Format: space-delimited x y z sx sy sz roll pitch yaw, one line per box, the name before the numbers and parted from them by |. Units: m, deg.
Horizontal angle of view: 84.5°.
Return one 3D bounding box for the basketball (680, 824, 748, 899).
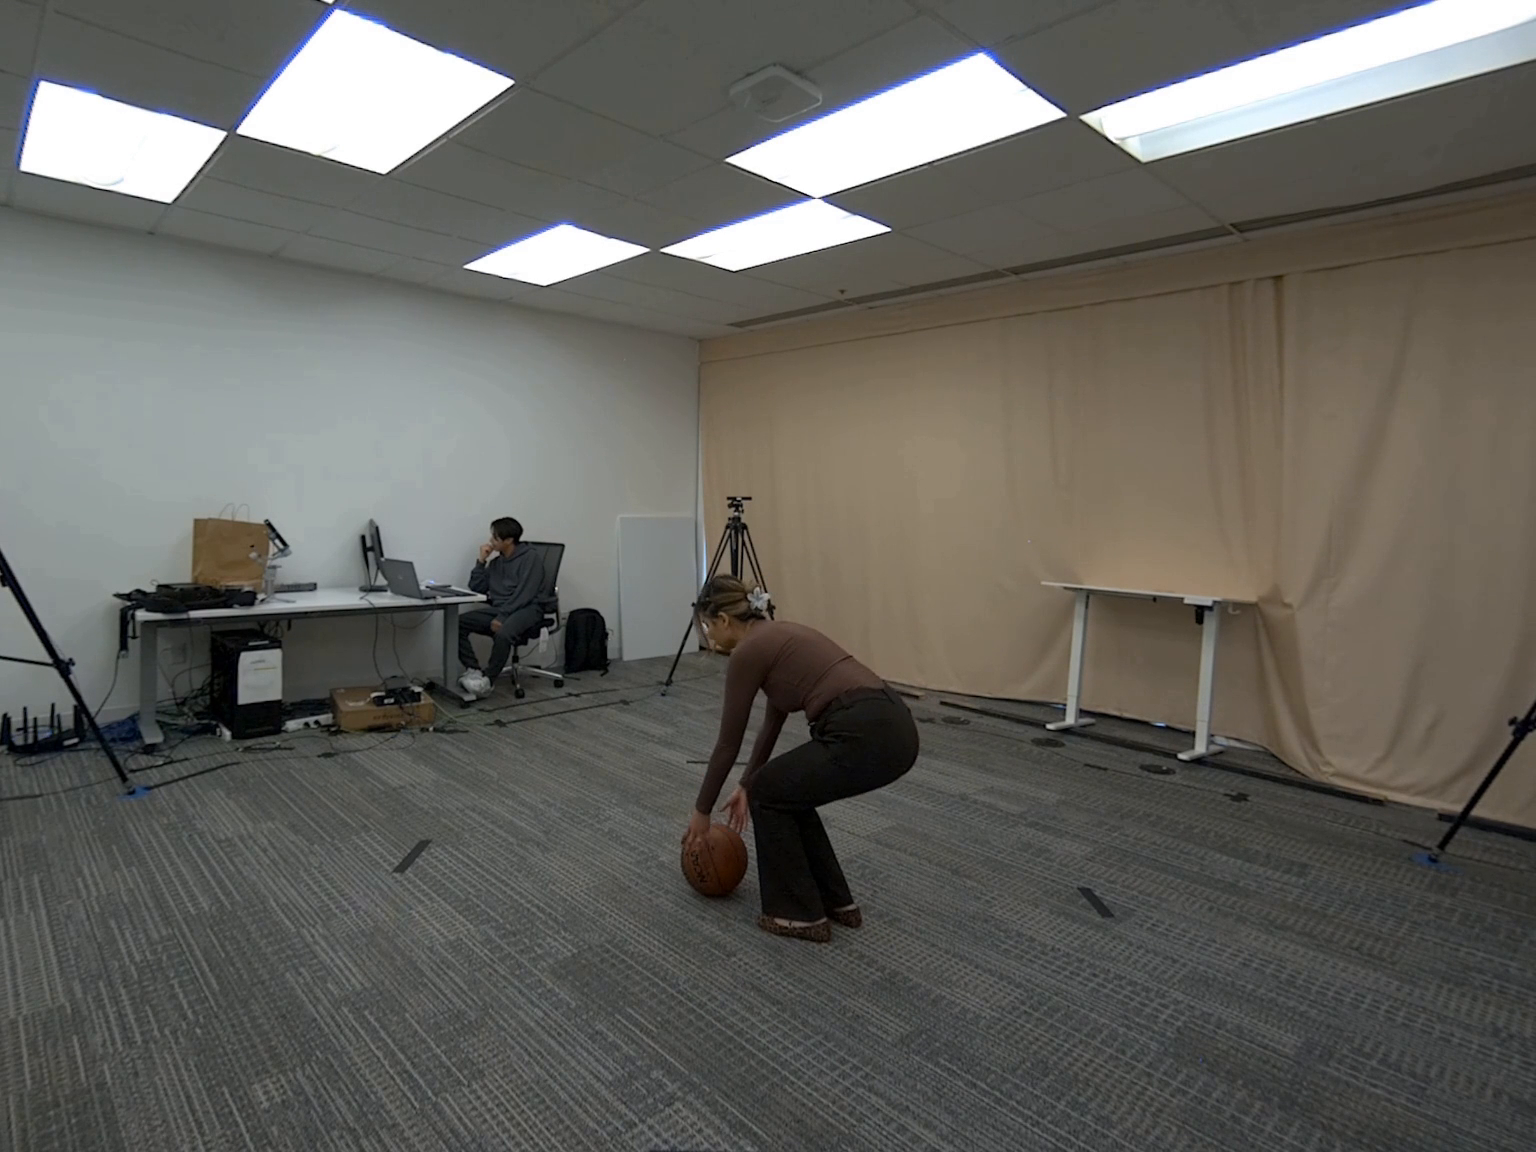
basketball | -0.196 0.994 2.967 0.236 0.235 0.237 1 4 -1
